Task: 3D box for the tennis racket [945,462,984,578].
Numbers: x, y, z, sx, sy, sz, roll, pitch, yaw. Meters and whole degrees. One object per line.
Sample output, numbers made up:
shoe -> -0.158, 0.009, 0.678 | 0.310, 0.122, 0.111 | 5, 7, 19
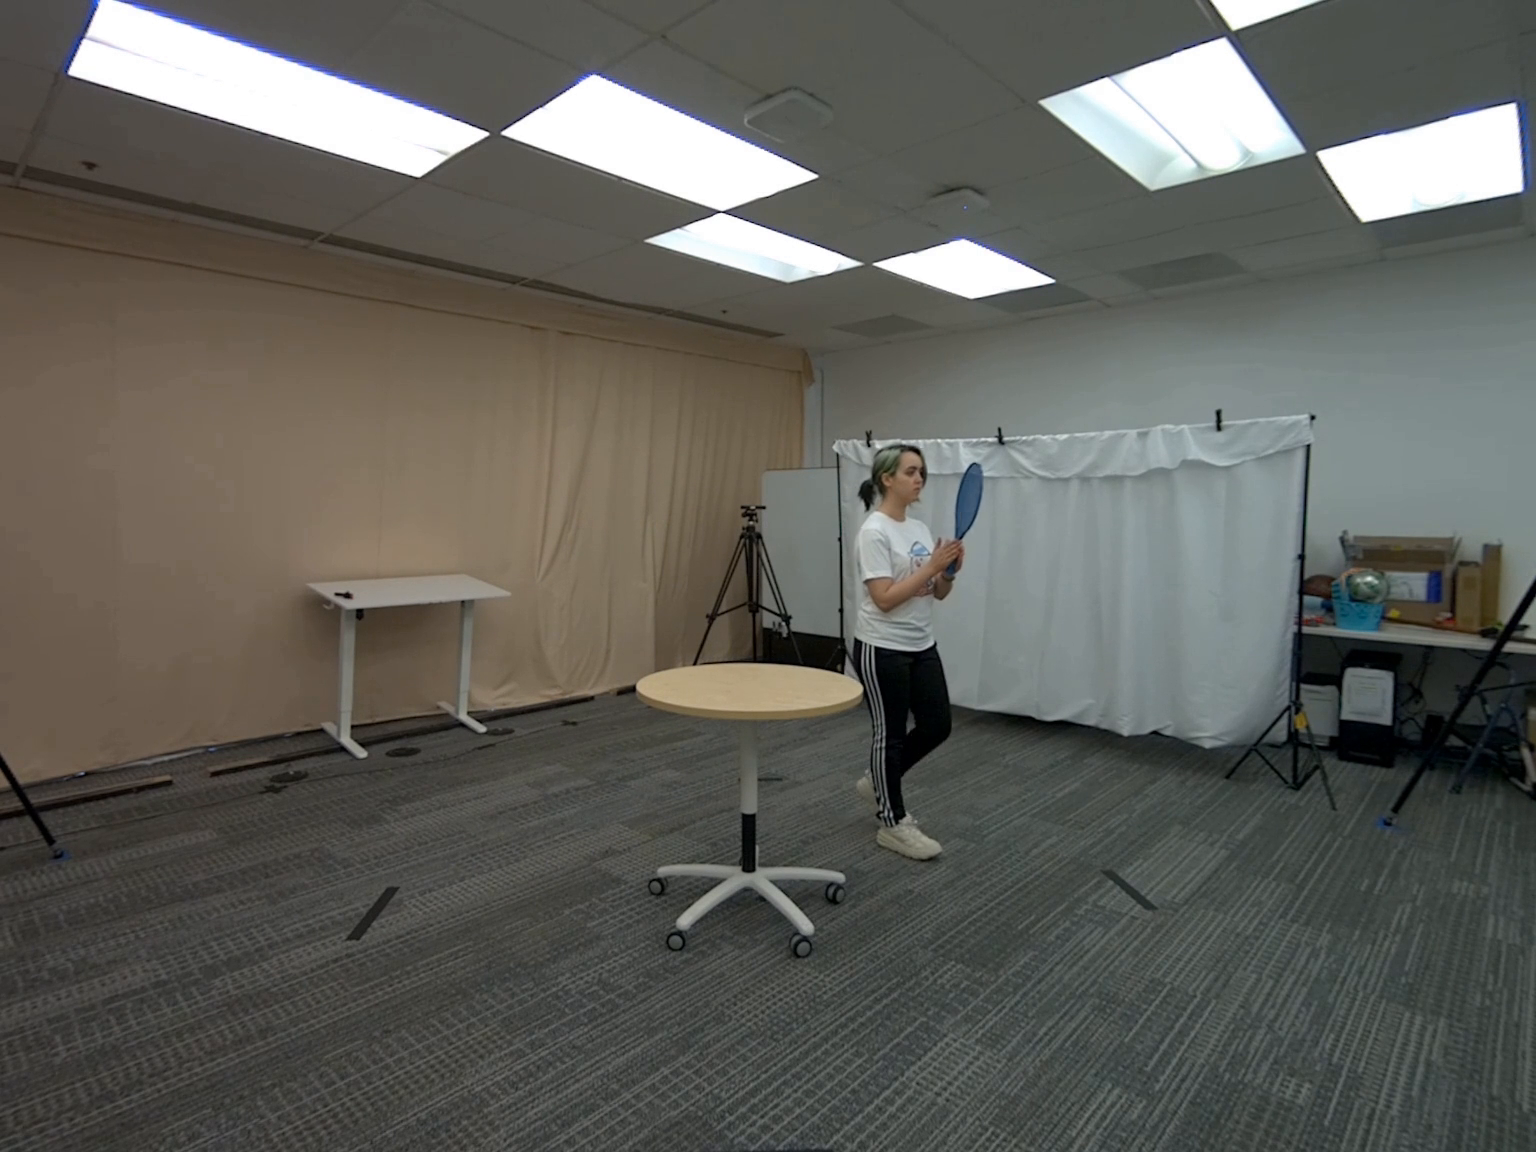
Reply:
tennis racket -> 0.728, -0.217, 3.143 | 0.031, 0.429, 0.217 | 9, 25, -8
